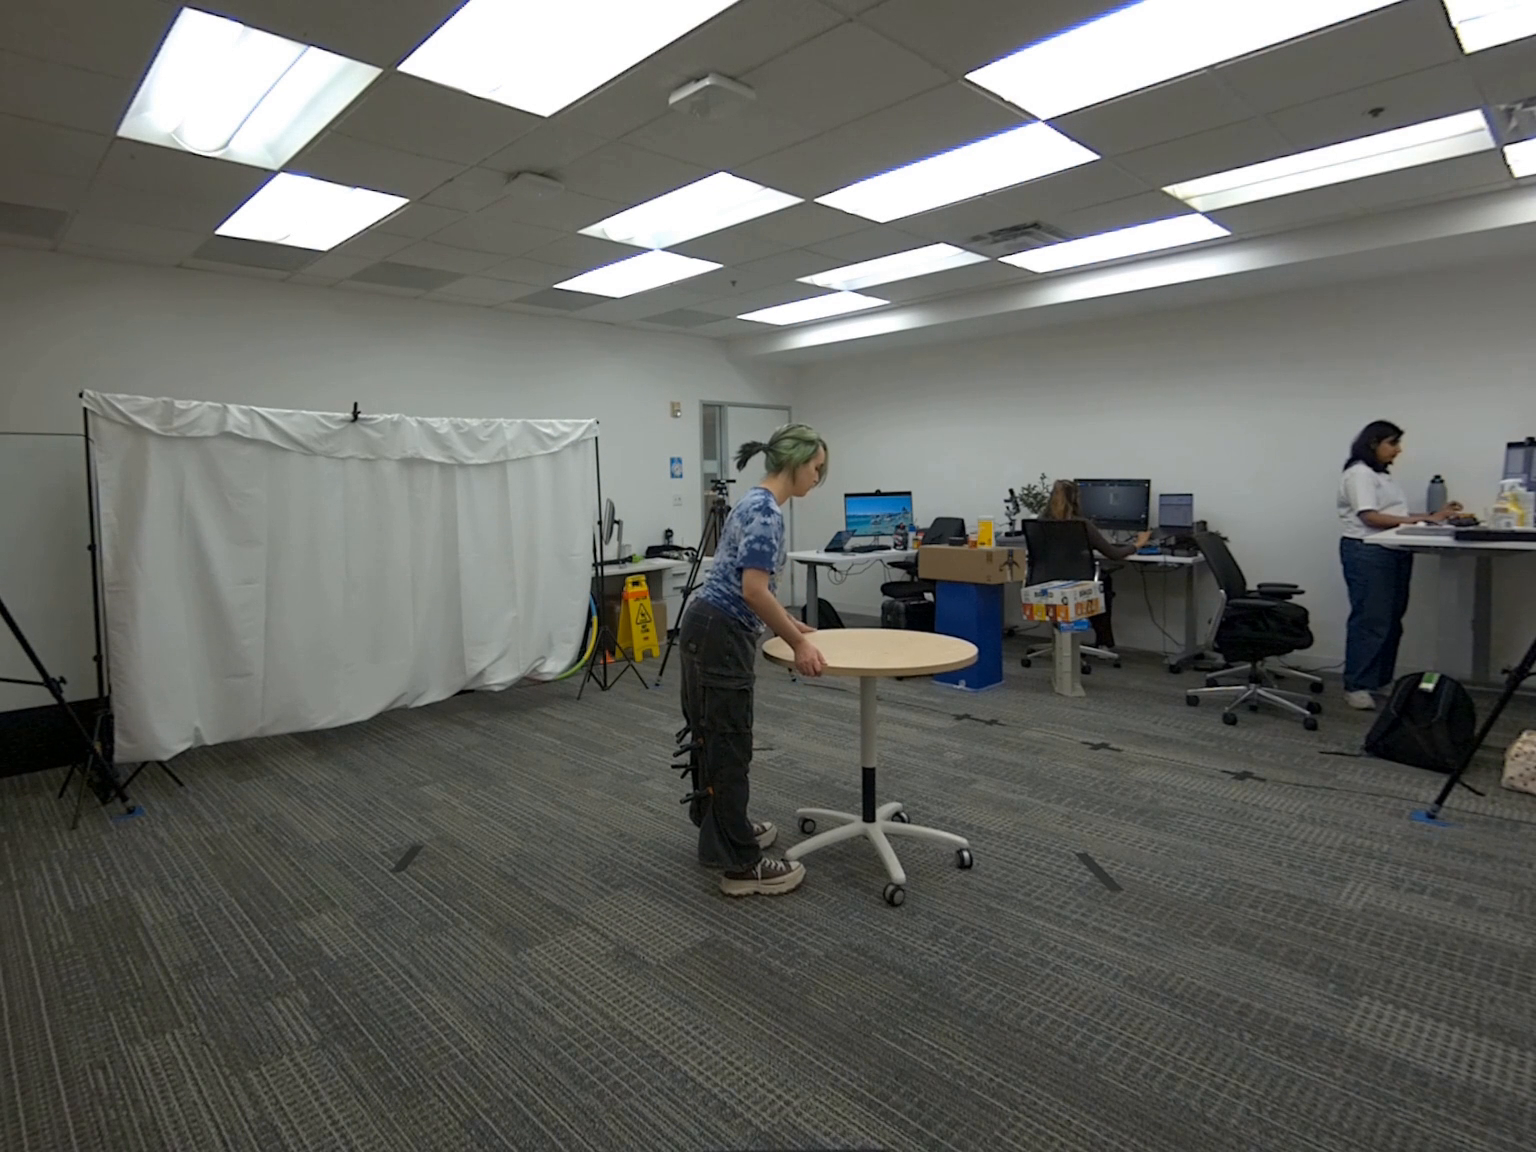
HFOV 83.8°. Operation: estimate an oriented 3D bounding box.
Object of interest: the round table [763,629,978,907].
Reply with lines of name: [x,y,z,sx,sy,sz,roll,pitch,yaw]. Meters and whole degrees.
round table: [0.365,0.645,3.119,0.763,0.791,0.767,-1,4,-2]
